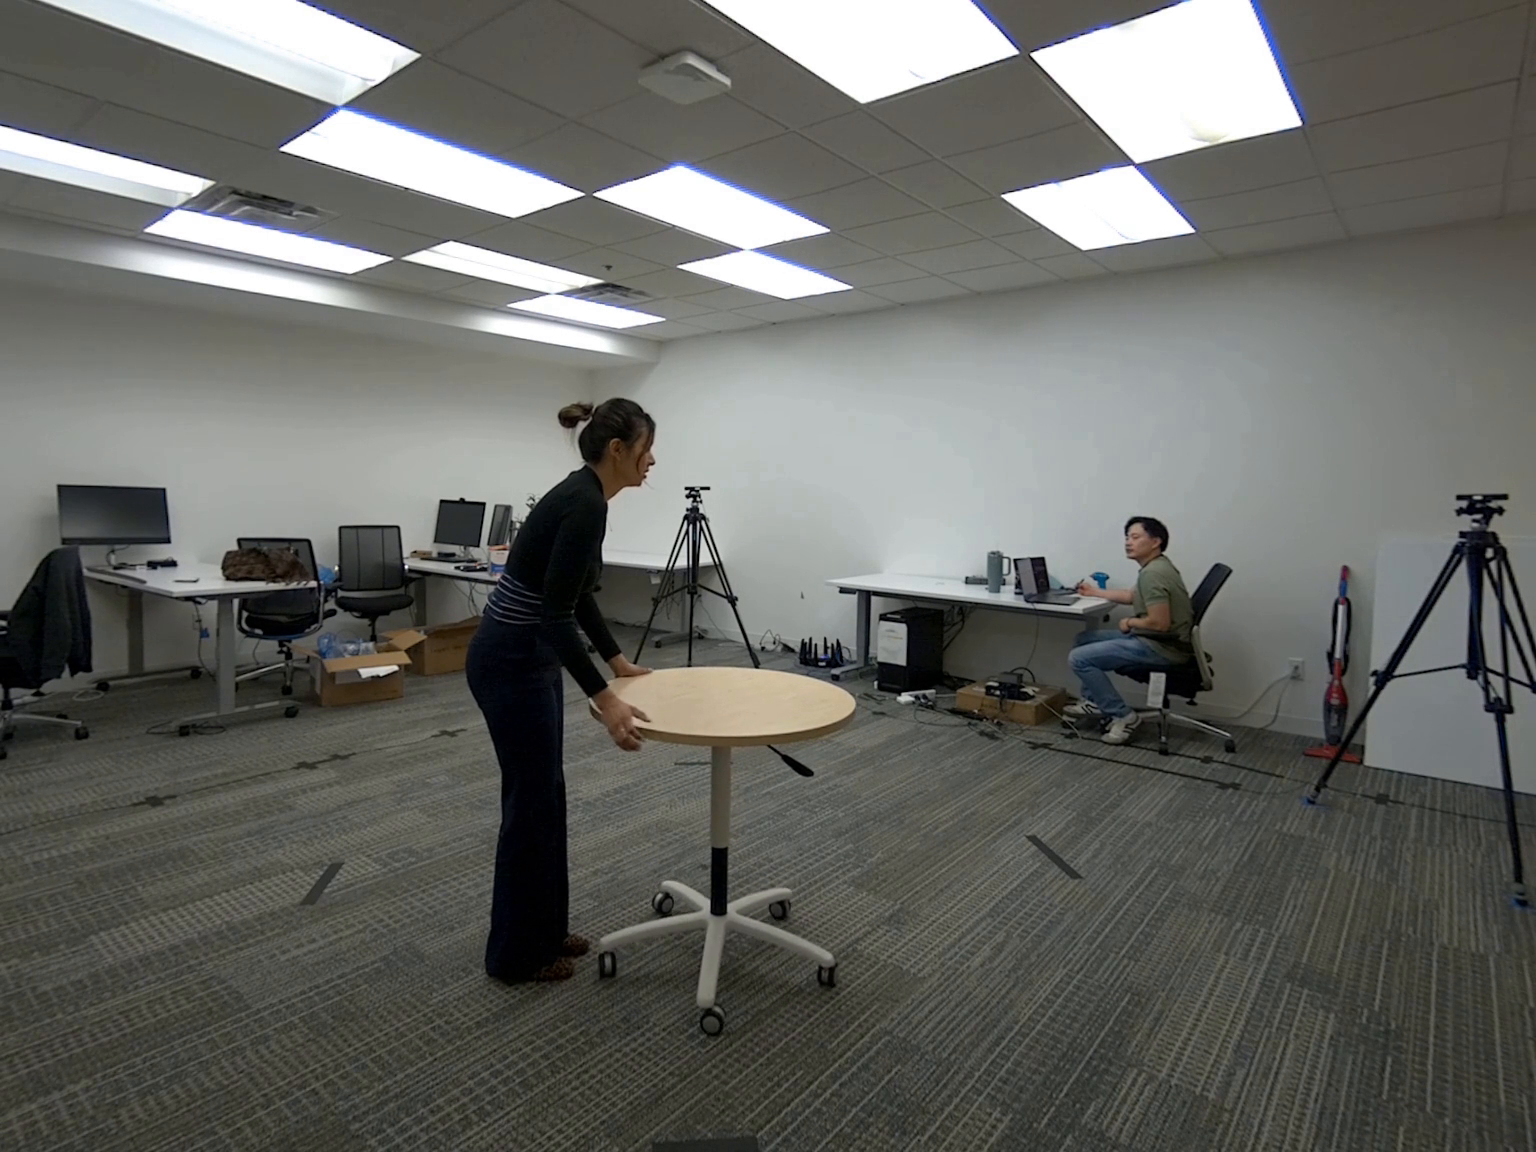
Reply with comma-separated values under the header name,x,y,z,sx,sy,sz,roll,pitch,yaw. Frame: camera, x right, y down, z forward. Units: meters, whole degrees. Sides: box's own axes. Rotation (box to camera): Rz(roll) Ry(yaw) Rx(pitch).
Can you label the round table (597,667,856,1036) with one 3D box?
name,x,y,z,sx,sy,sz,roll,pitch,yaw
round table,-0.145,0.742,2.492,0.763,0.791,0.768,1,5,-2
